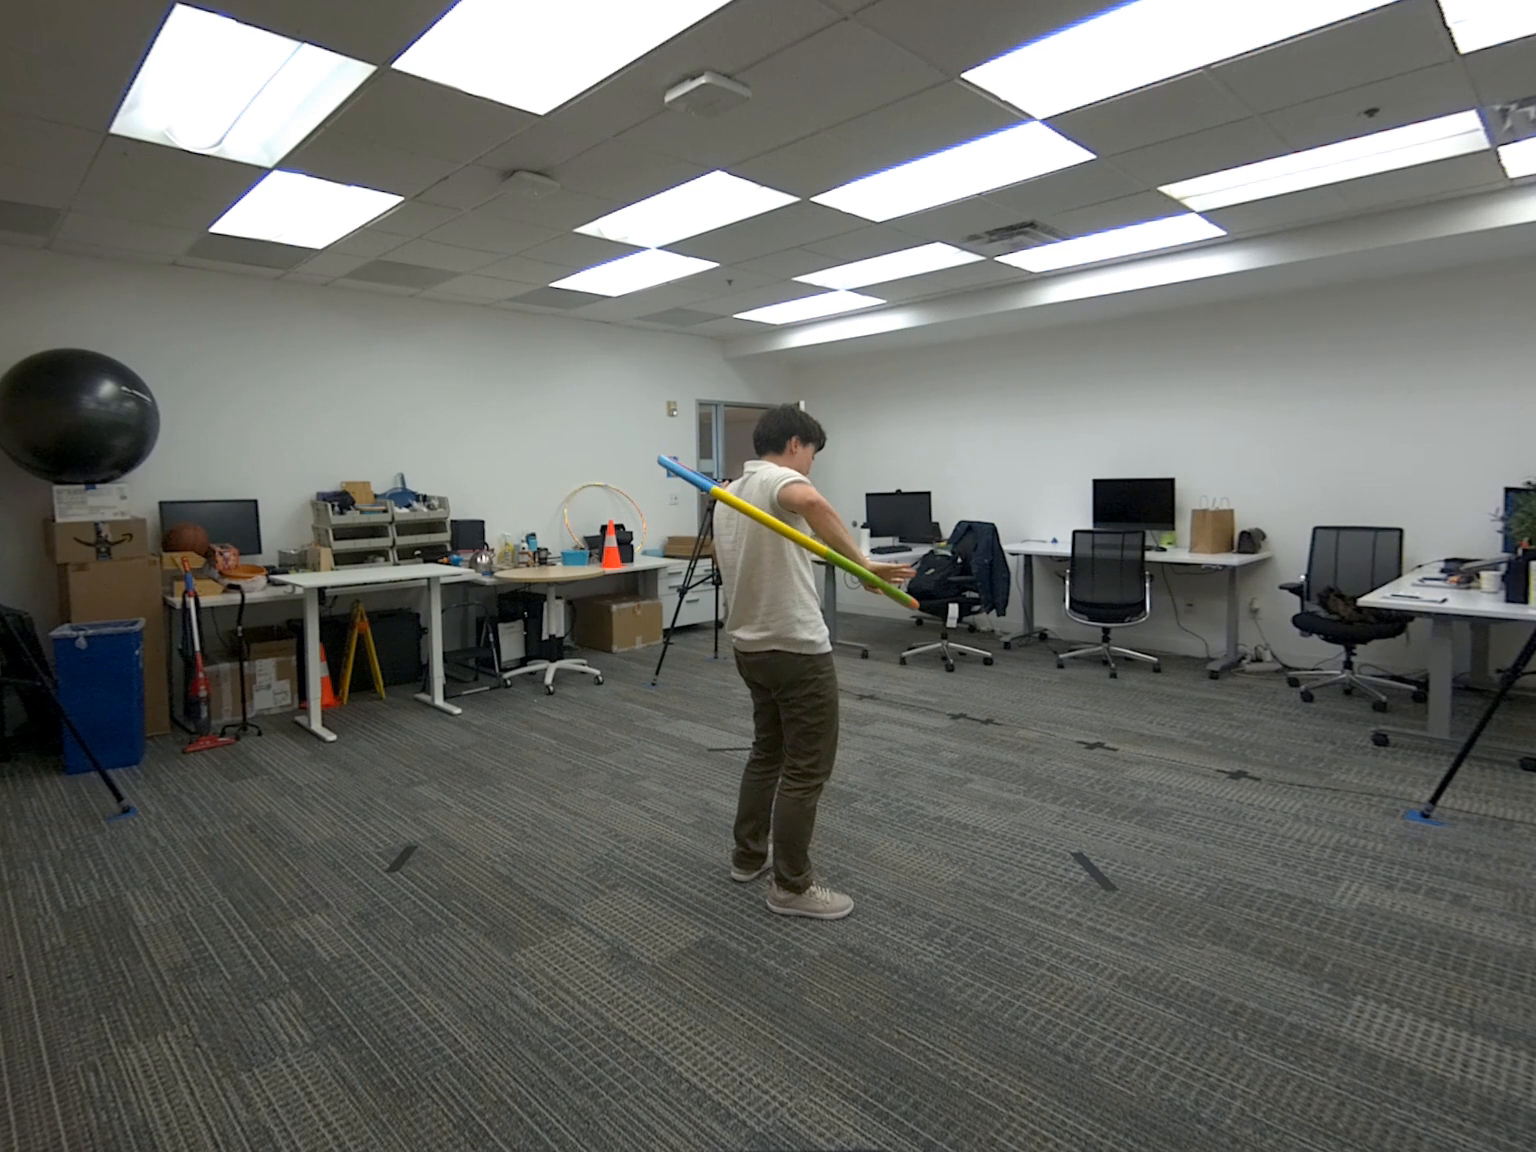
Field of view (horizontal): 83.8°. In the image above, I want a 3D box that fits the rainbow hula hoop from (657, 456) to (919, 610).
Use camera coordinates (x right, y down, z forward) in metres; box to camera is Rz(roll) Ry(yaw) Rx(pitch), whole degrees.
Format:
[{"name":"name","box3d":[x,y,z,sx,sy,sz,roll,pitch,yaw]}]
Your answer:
[{"name":"rainbow hula hoop","box3d":[0.056,-0.146,2.865,0.974,0.035,0.985,29,6,-5]}]
